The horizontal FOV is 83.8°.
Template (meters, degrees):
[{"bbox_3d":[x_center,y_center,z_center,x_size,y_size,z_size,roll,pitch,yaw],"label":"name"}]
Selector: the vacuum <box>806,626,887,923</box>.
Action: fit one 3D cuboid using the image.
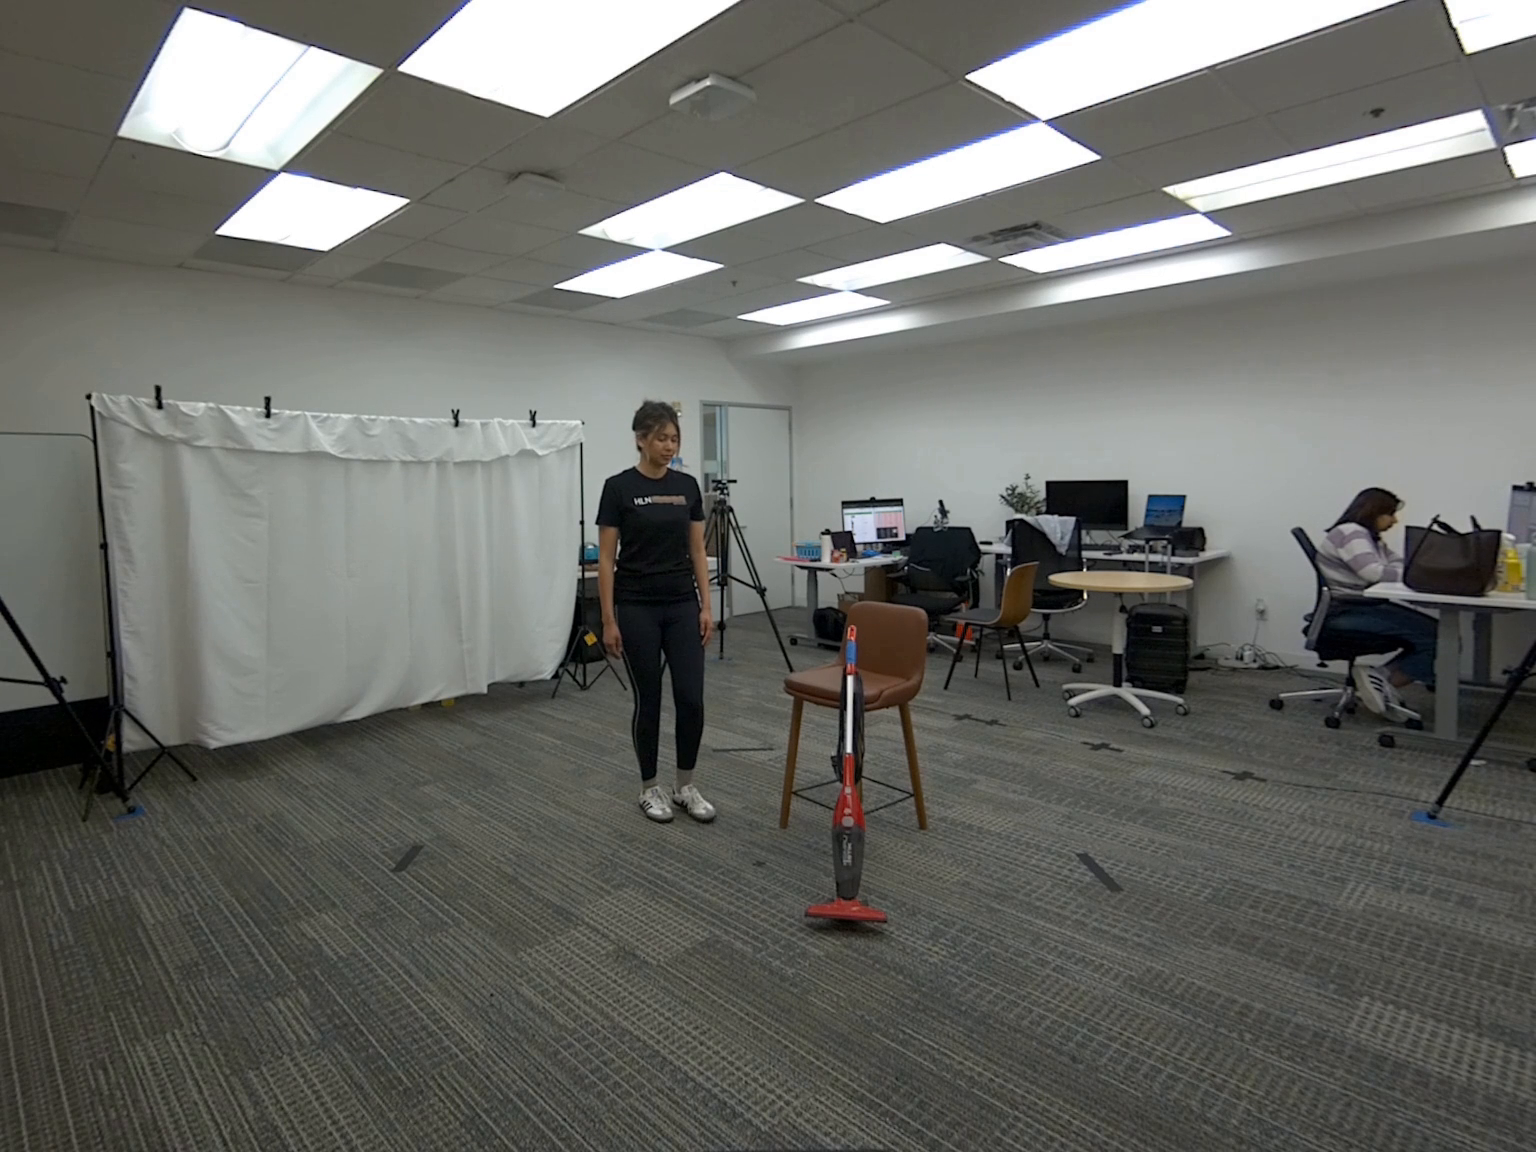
[{"bbox_3d":[0.290,0.644,2.975,0.255,1.073,0.139,-1,-36,10],"label":"vacuum"}]
